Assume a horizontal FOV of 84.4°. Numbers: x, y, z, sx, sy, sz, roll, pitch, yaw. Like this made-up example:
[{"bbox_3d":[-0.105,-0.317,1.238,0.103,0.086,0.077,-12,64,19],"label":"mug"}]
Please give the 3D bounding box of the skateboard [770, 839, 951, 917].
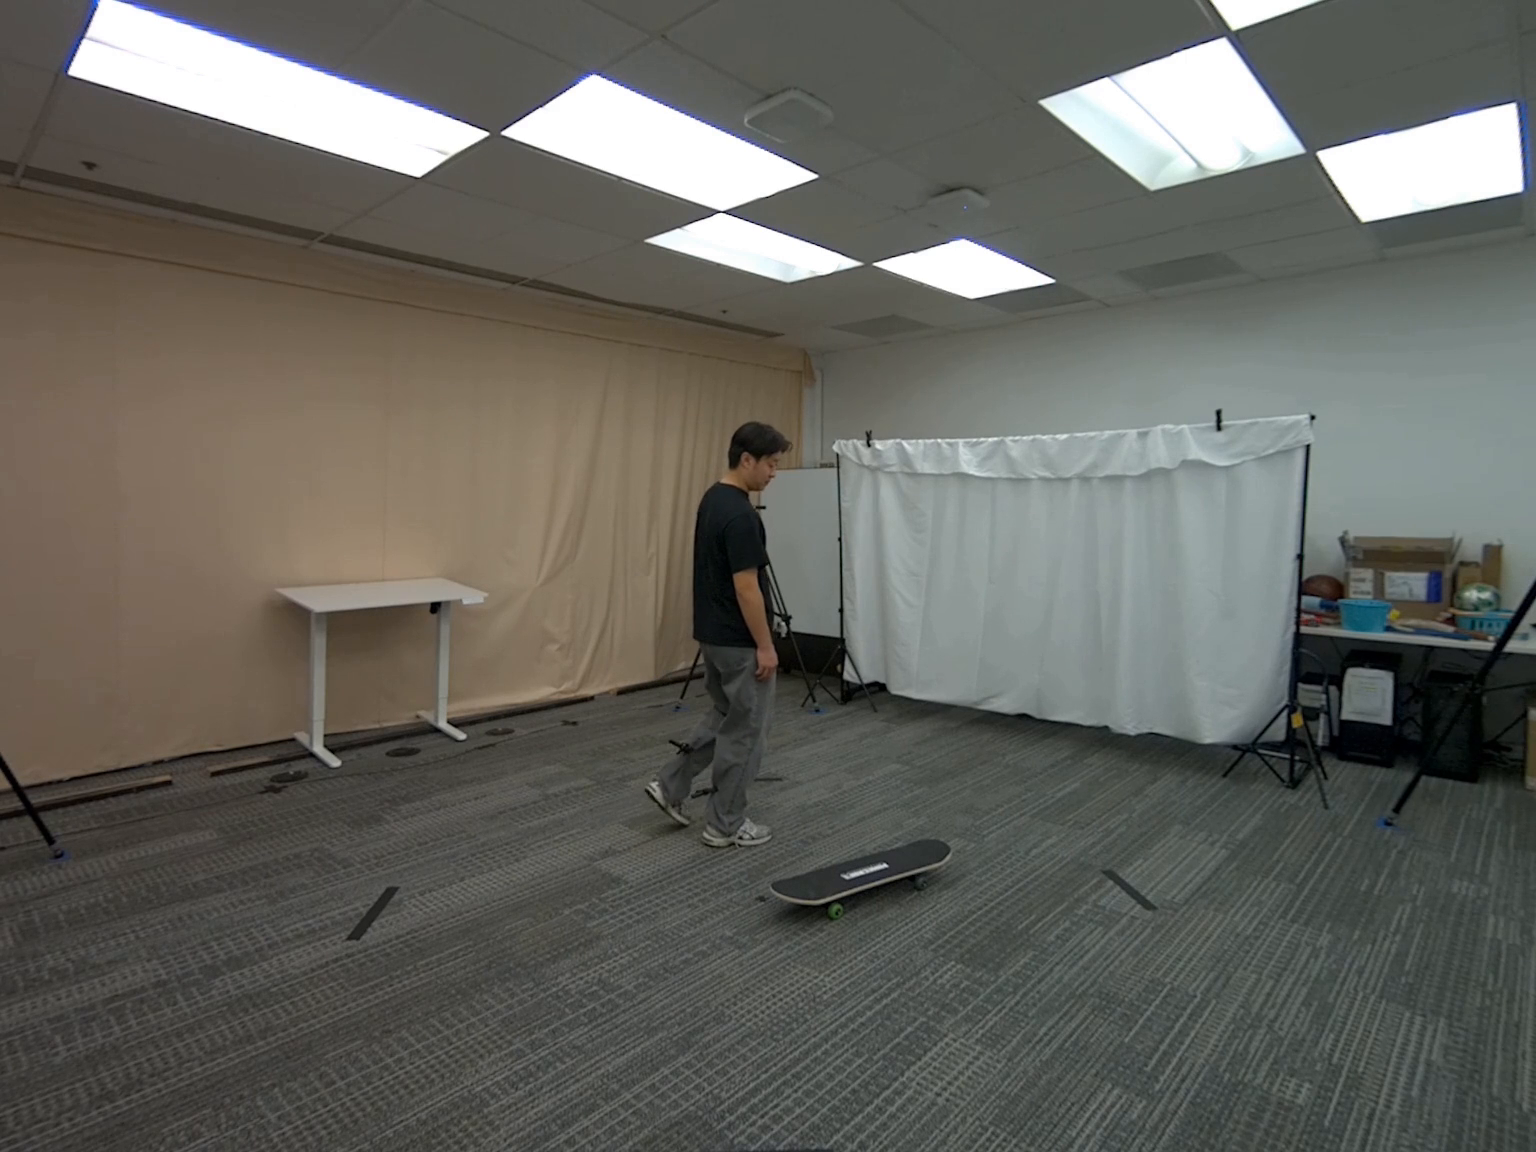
[{"bbox_3d":[0.349,1.084,3.004,0.764,0.110,0.199,-3,5,-32],"label":"skateboard"}]
